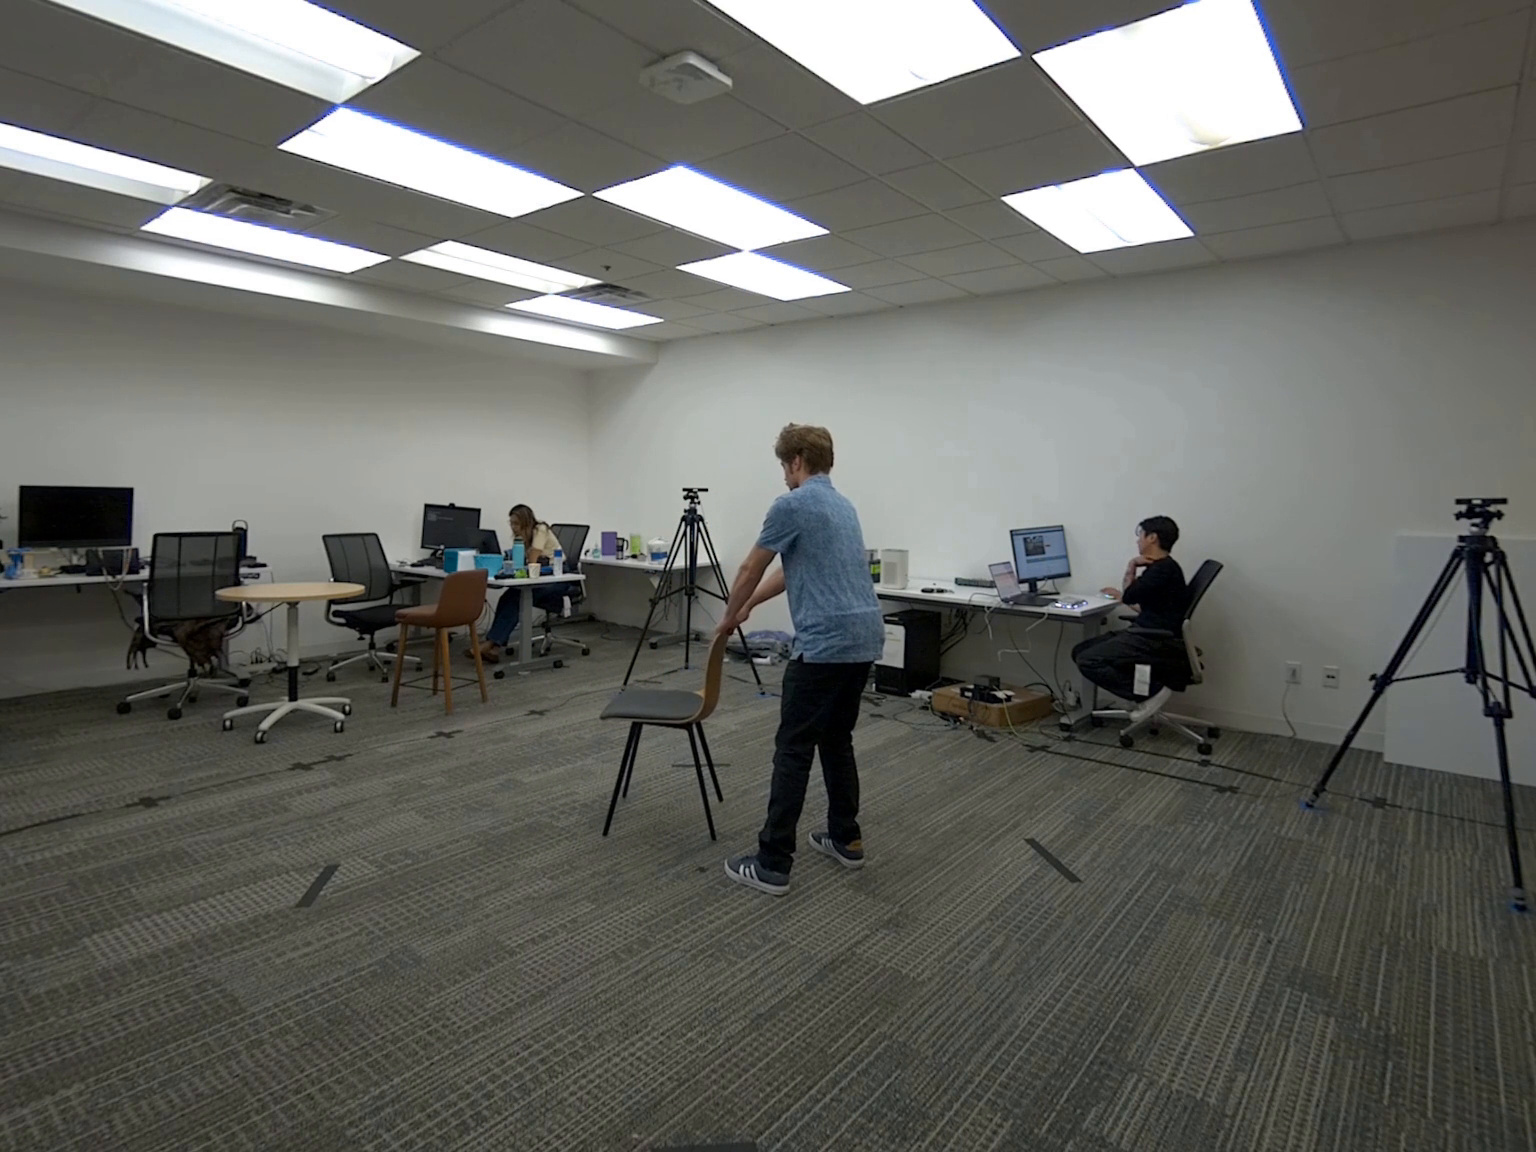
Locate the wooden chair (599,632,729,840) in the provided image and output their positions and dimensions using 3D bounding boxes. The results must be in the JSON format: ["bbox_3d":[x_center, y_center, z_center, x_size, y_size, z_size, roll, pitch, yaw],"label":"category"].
[{"bbox_3d":[-0.443,0.594,3.569,0.525,0.875,0.478,5,3,2],"label":"wooden chair"}]
